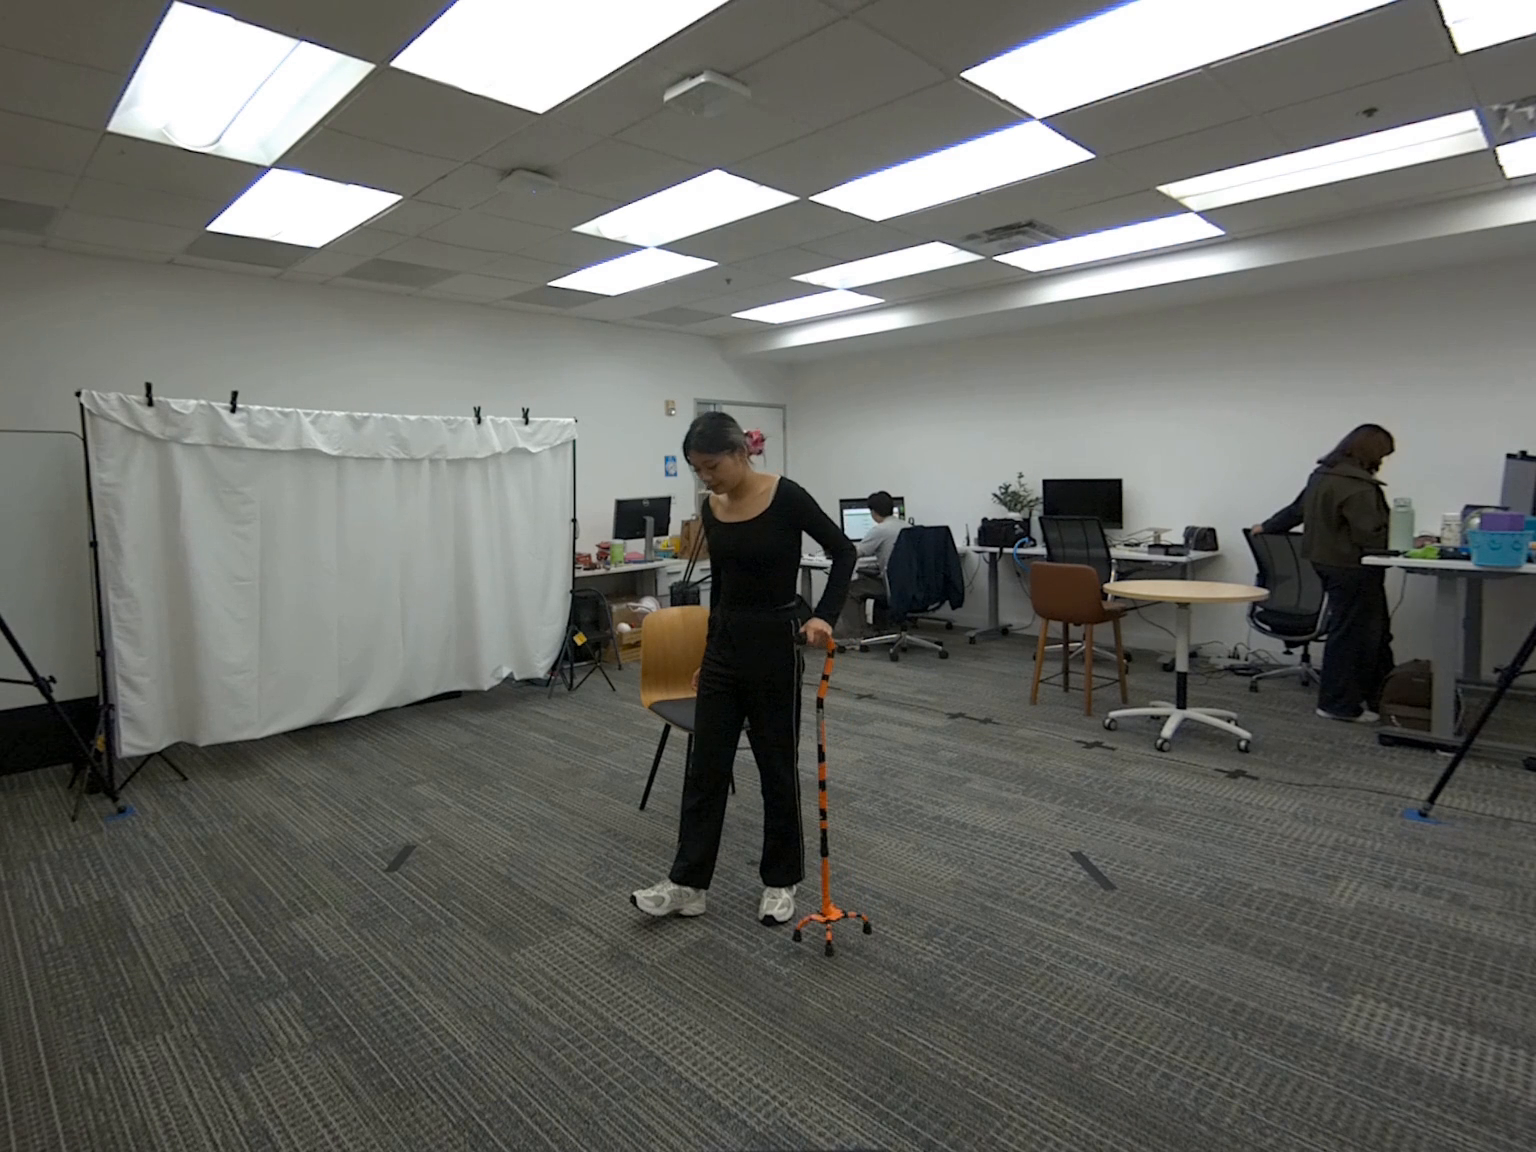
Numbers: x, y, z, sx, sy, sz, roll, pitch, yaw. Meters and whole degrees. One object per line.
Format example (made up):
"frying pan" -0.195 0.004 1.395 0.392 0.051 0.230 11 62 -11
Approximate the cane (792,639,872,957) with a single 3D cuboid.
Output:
"cane" 0.174 0.619 2.513 0.156 0.906 0.201 0 3 45
